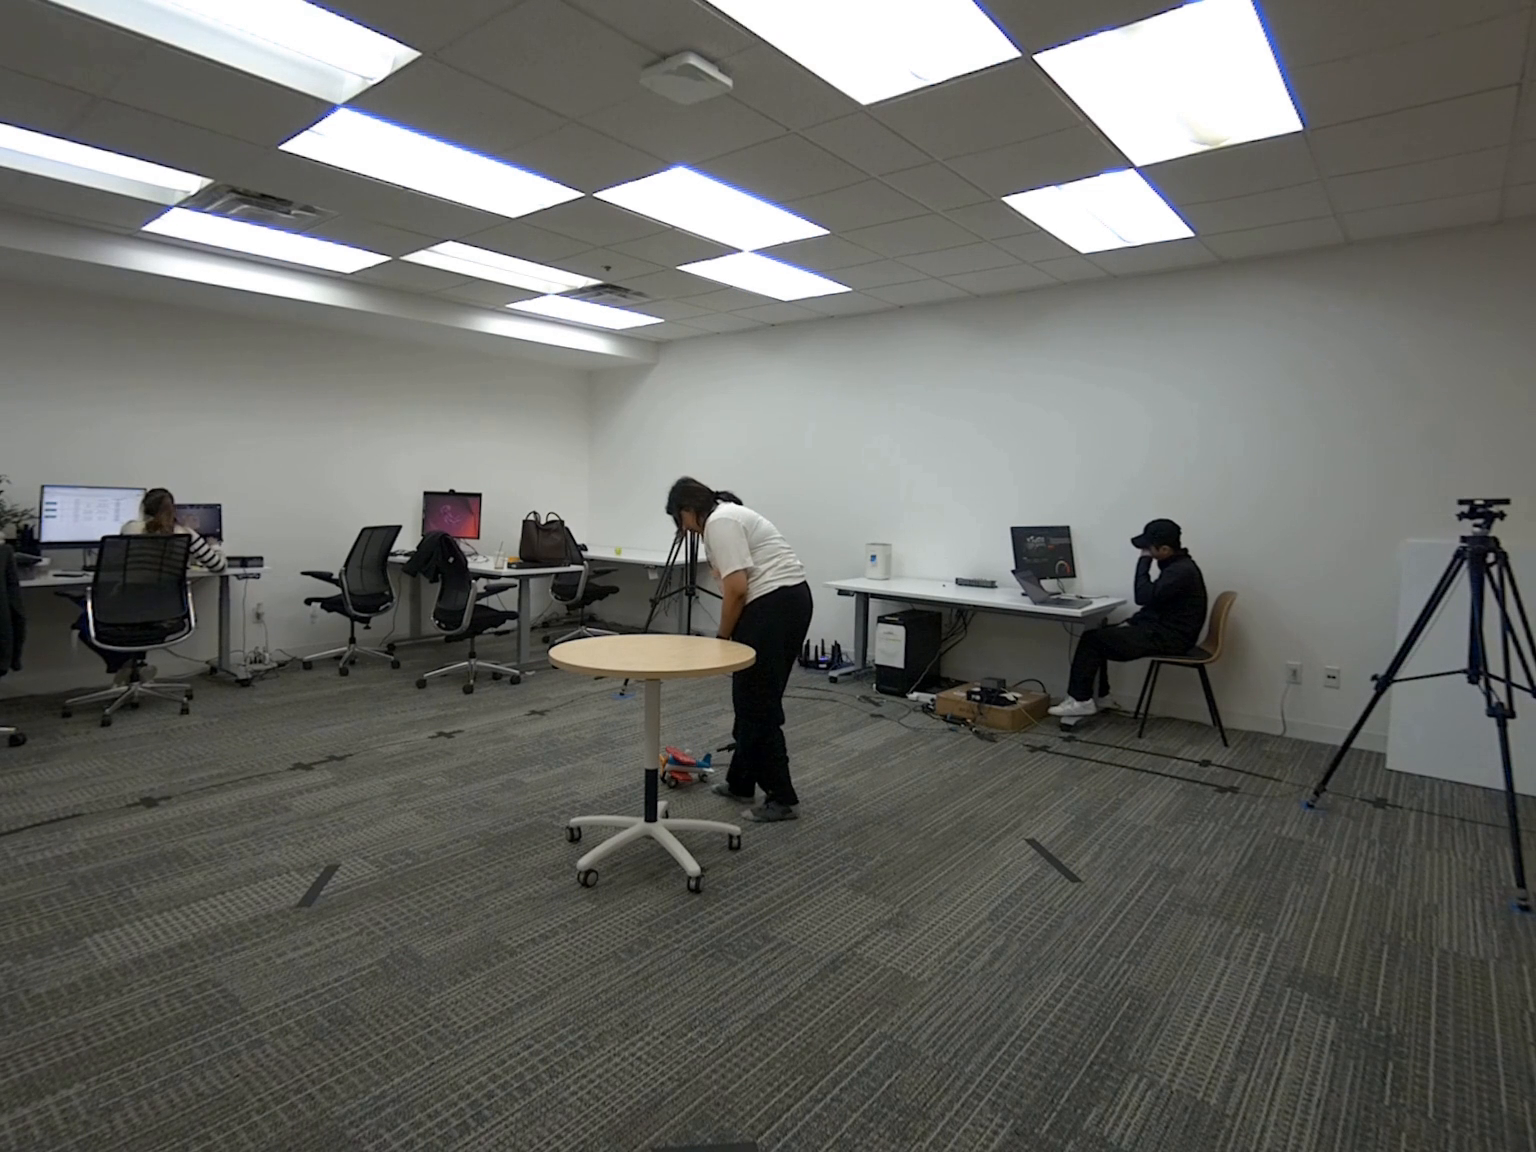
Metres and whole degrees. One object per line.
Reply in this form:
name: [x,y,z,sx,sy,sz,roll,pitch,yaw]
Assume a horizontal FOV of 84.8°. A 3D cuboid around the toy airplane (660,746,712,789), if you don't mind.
toy airplane: [-0.410,0.904,4.045,0.259,0.156,0.252,3,4,36]
